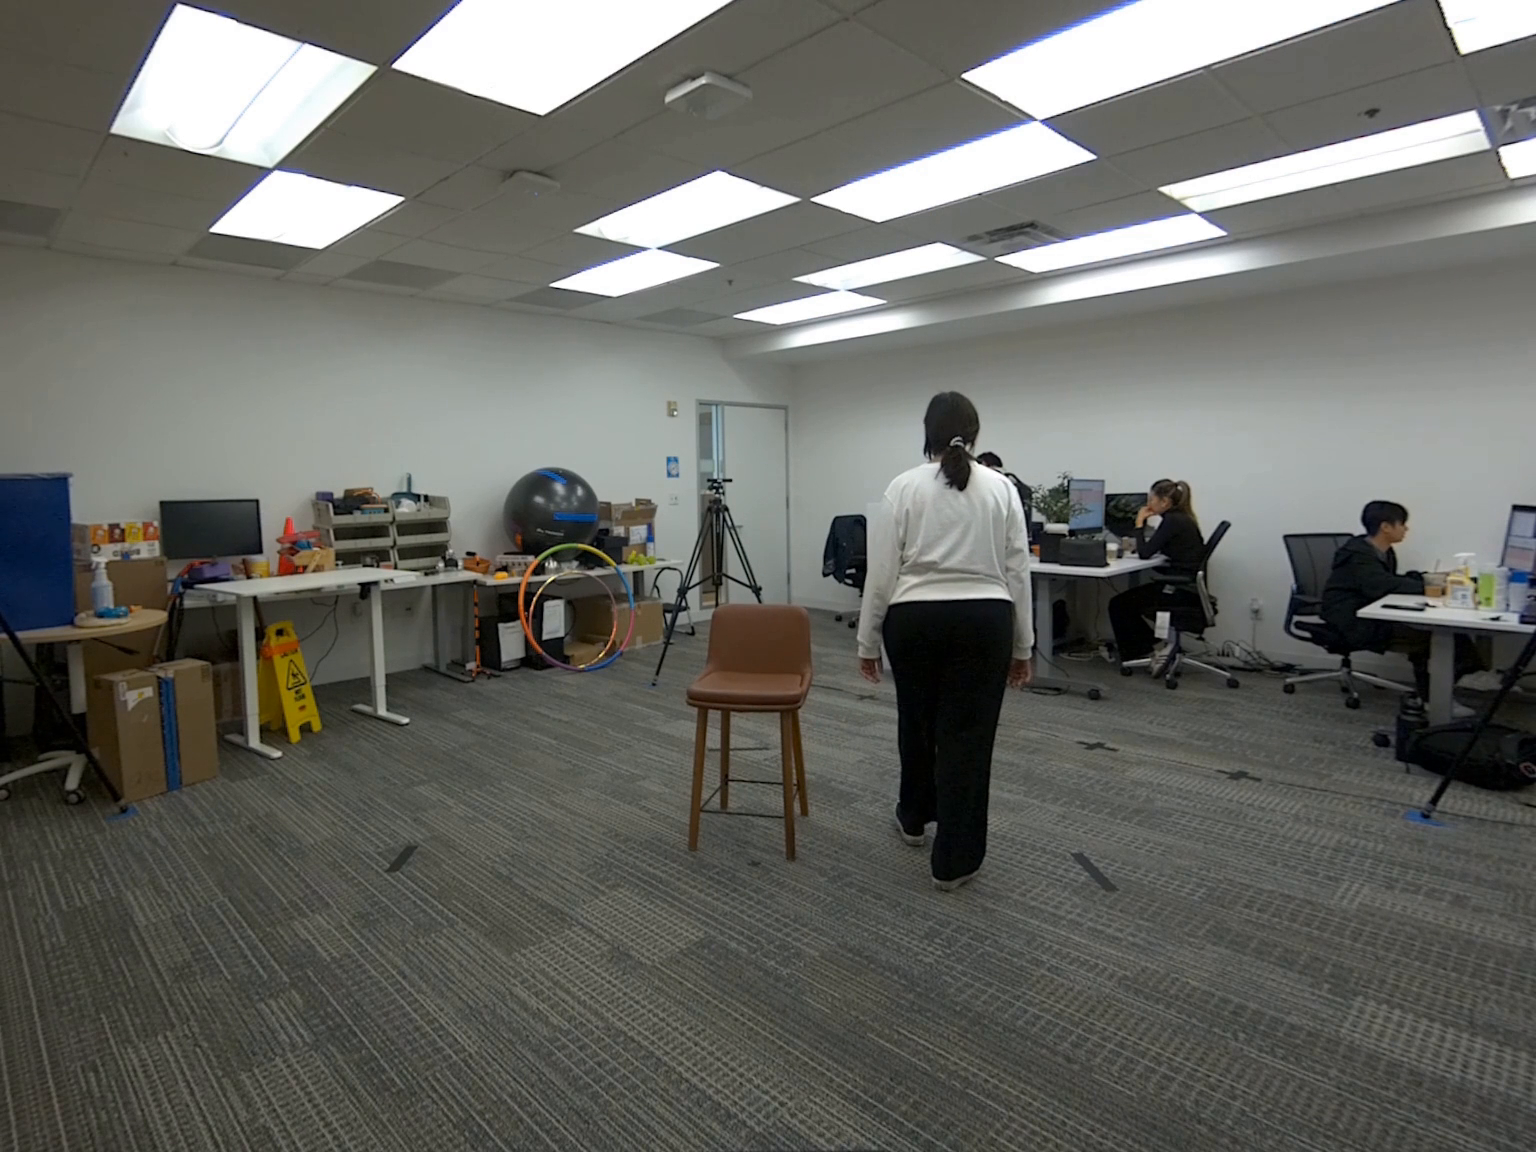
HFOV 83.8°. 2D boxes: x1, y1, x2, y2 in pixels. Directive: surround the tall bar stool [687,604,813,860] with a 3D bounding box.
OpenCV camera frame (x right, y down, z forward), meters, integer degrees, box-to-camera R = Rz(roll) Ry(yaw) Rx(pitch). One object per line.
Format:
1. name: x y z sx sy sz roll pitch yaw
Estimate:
1. tall bar stool: -0.063 0.582 3.371 0.463 0.888 0.462 0 2 14
